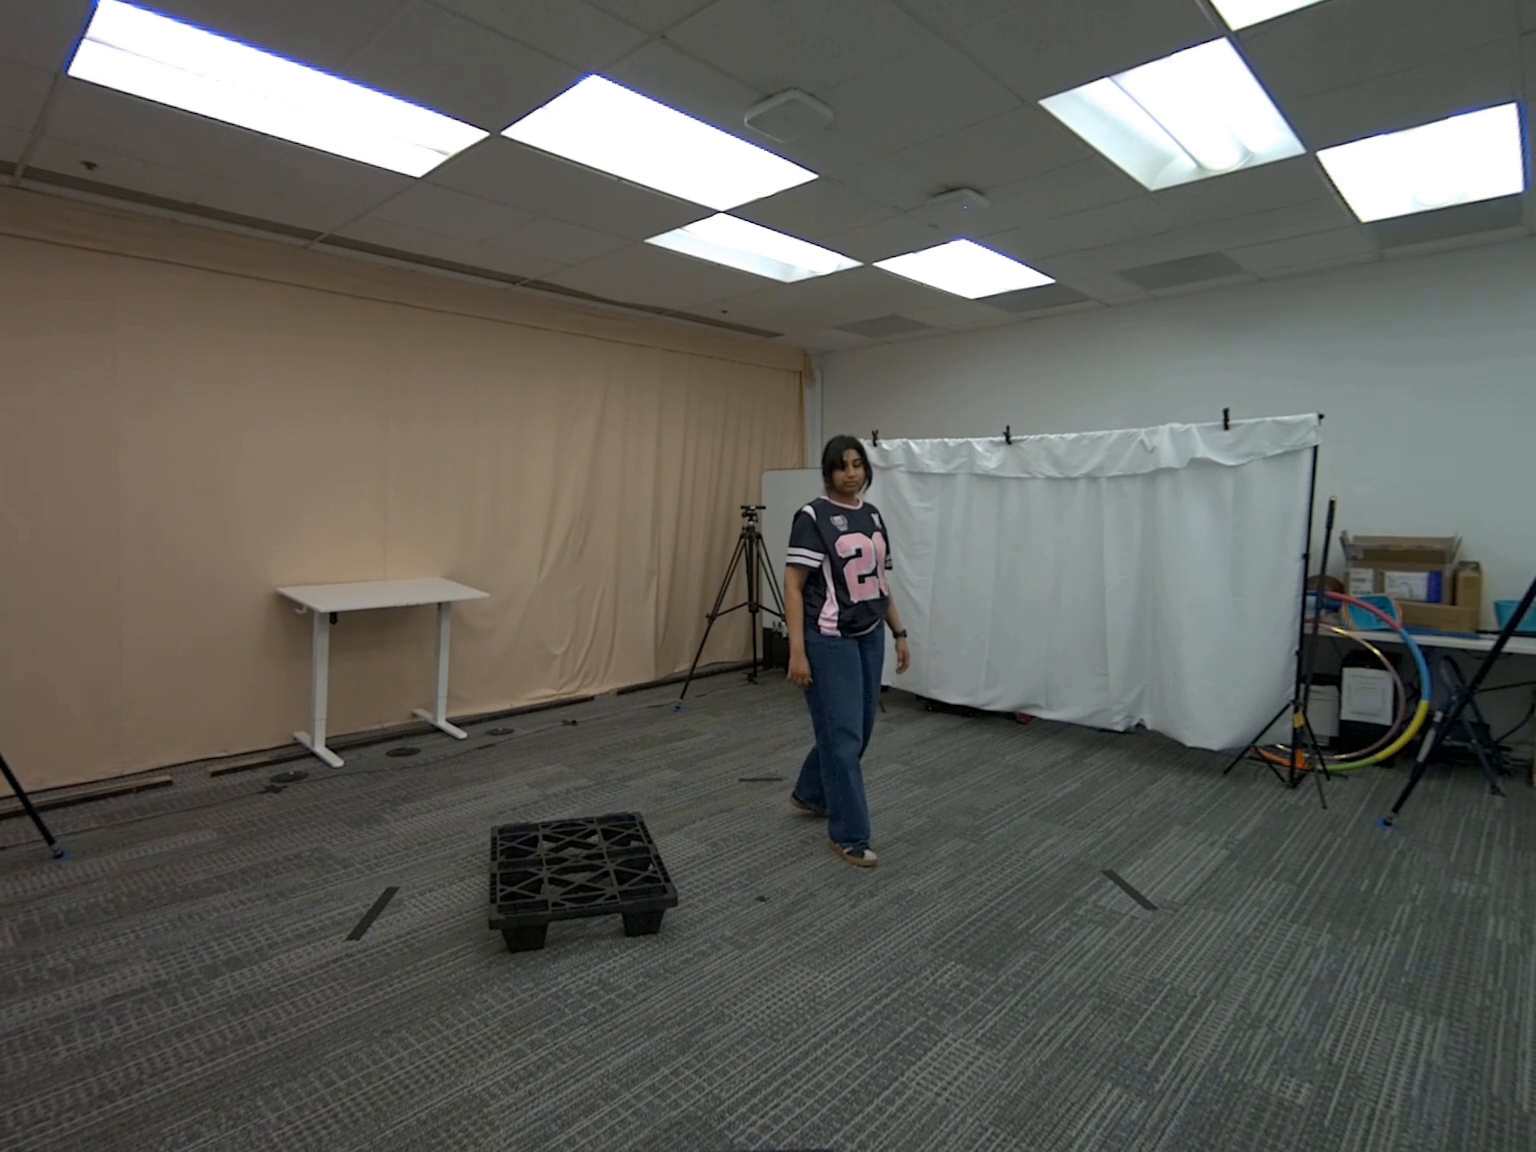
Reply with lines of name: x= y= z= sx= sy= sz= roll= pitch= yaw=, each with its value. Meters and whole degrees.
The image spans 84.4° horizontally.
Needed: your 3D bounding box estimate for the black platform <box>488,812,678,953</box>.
black platform: x=-0.693 y=1.079 z=3.037 sx=0.595 sy=0.143 sz=0.821 roll=-1 pitch=5 yaw=-17
